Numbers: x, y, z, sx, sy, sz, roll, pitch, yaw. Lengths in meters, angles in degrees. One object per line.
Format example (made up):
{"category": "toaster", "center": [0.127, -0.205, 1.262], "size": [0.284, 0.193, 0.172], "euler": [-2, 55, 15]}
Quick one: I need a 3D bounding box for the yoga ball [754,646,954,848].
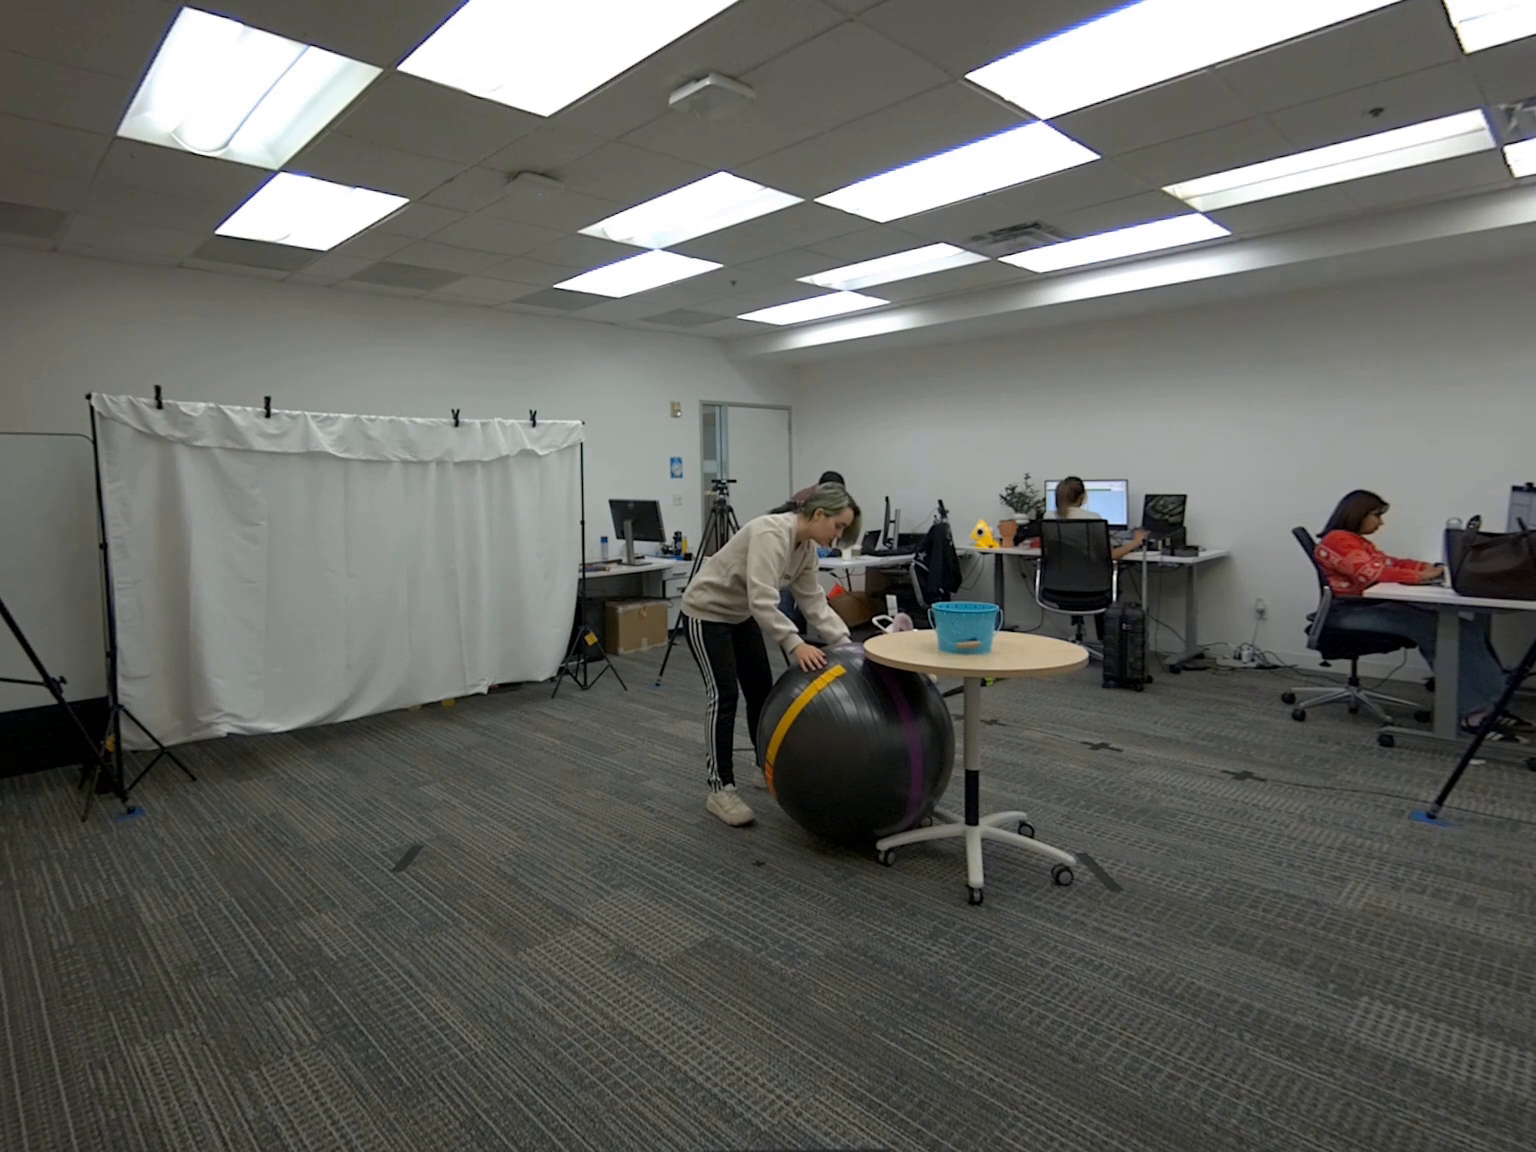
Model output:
{"category": "yoga ball", "center": [0.333, 0.644, 3.315], "size": [0.757, 0.755, 0.762], "euler": [-1, 5, -2]}
